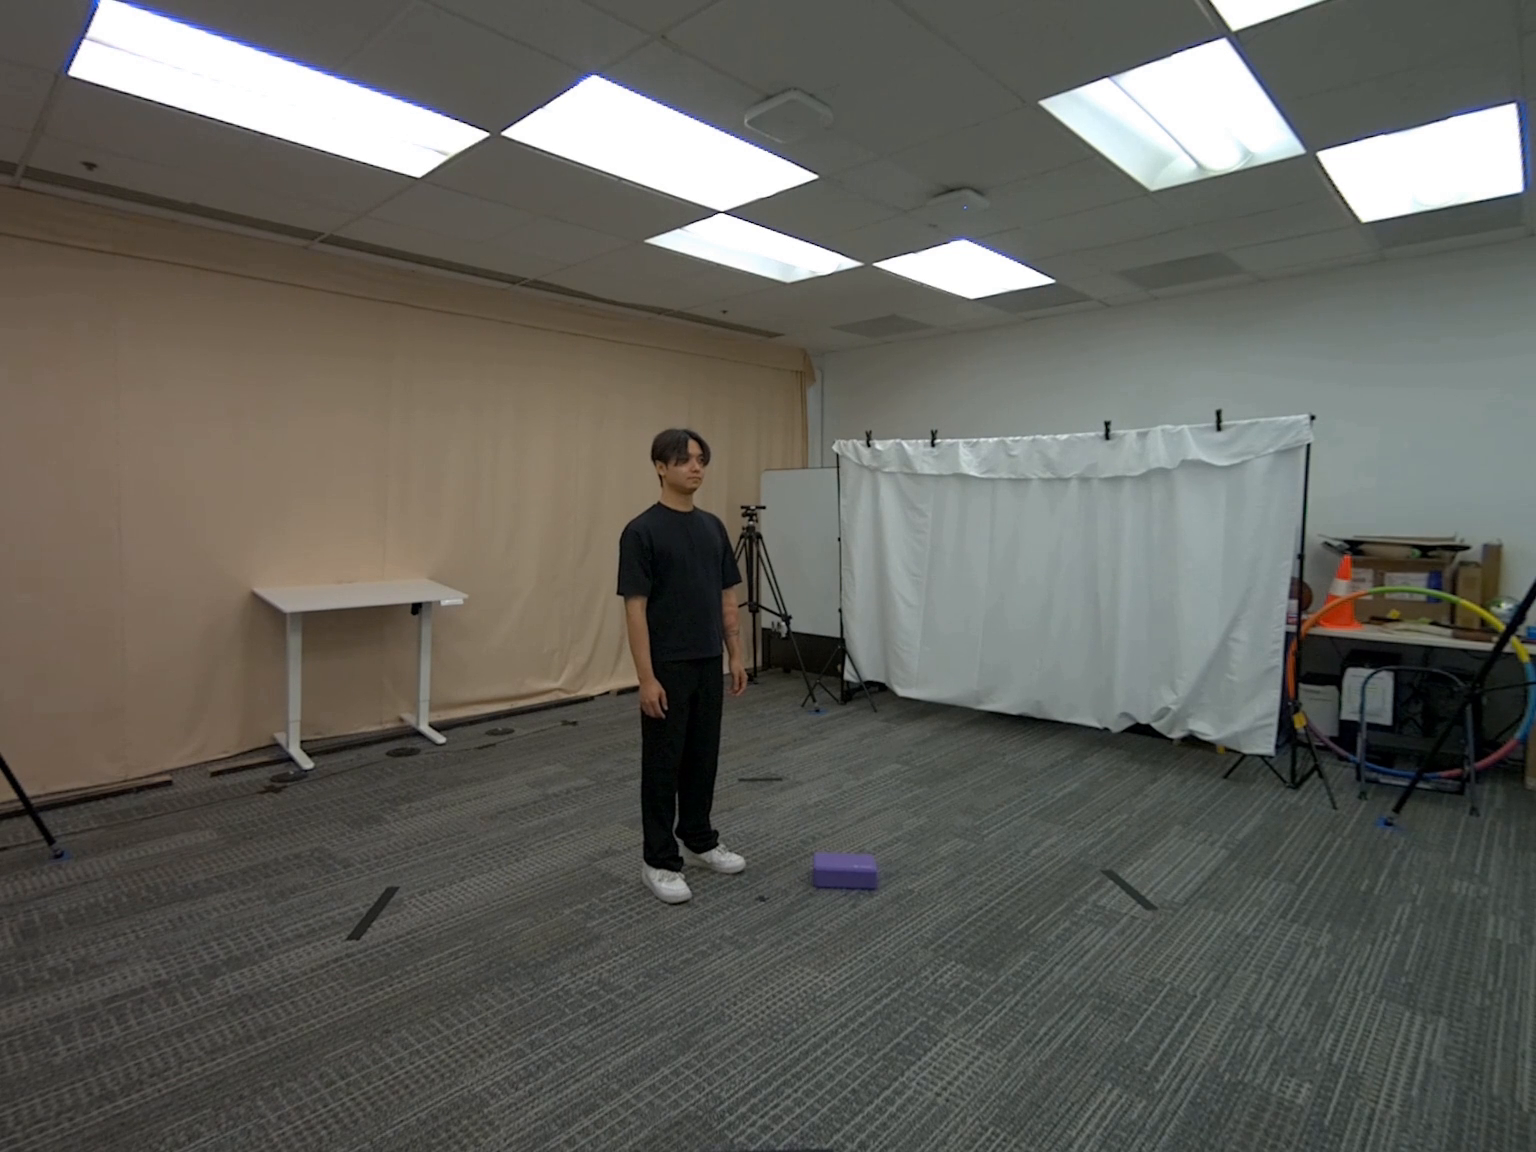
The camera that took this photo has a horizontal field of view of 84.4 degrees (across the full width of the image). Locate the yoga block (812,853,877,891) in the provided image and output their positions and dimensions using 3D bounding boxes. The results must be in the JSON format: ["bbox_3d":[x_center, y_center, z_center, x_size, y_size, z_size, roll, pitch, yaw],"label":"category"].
[{"bbox_3d":[0.286,1.094,3.114,0.231,0.076,0.148,1,6,5],"label":"yoga block"}]
